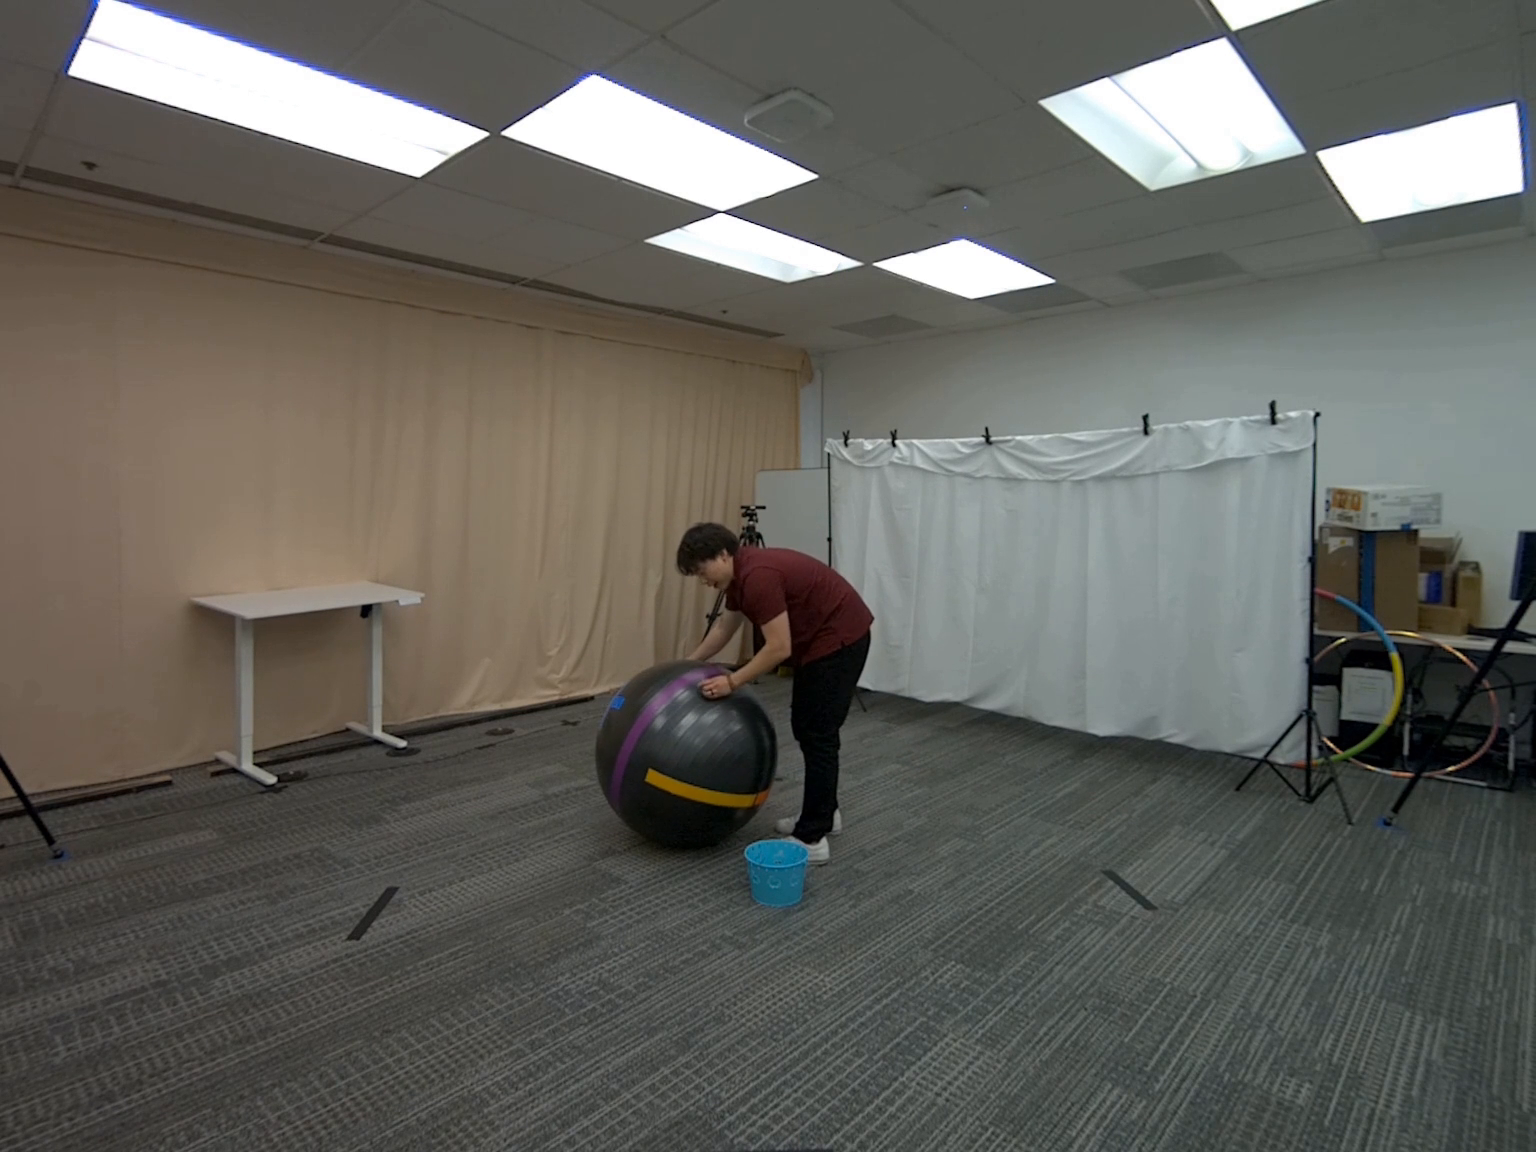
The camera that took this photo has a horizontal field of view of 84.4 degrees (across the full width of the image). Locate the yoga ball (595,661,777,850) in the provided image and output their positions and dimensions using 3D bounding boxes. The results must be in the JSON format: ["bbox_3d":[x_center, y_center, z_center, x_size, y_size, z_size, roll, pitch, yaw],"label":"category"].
[{"bbox_3d":[-0.338,0.732,3.517,0.757,0.756,0.760,0,4,-2],"label":"yoga ball"}]
